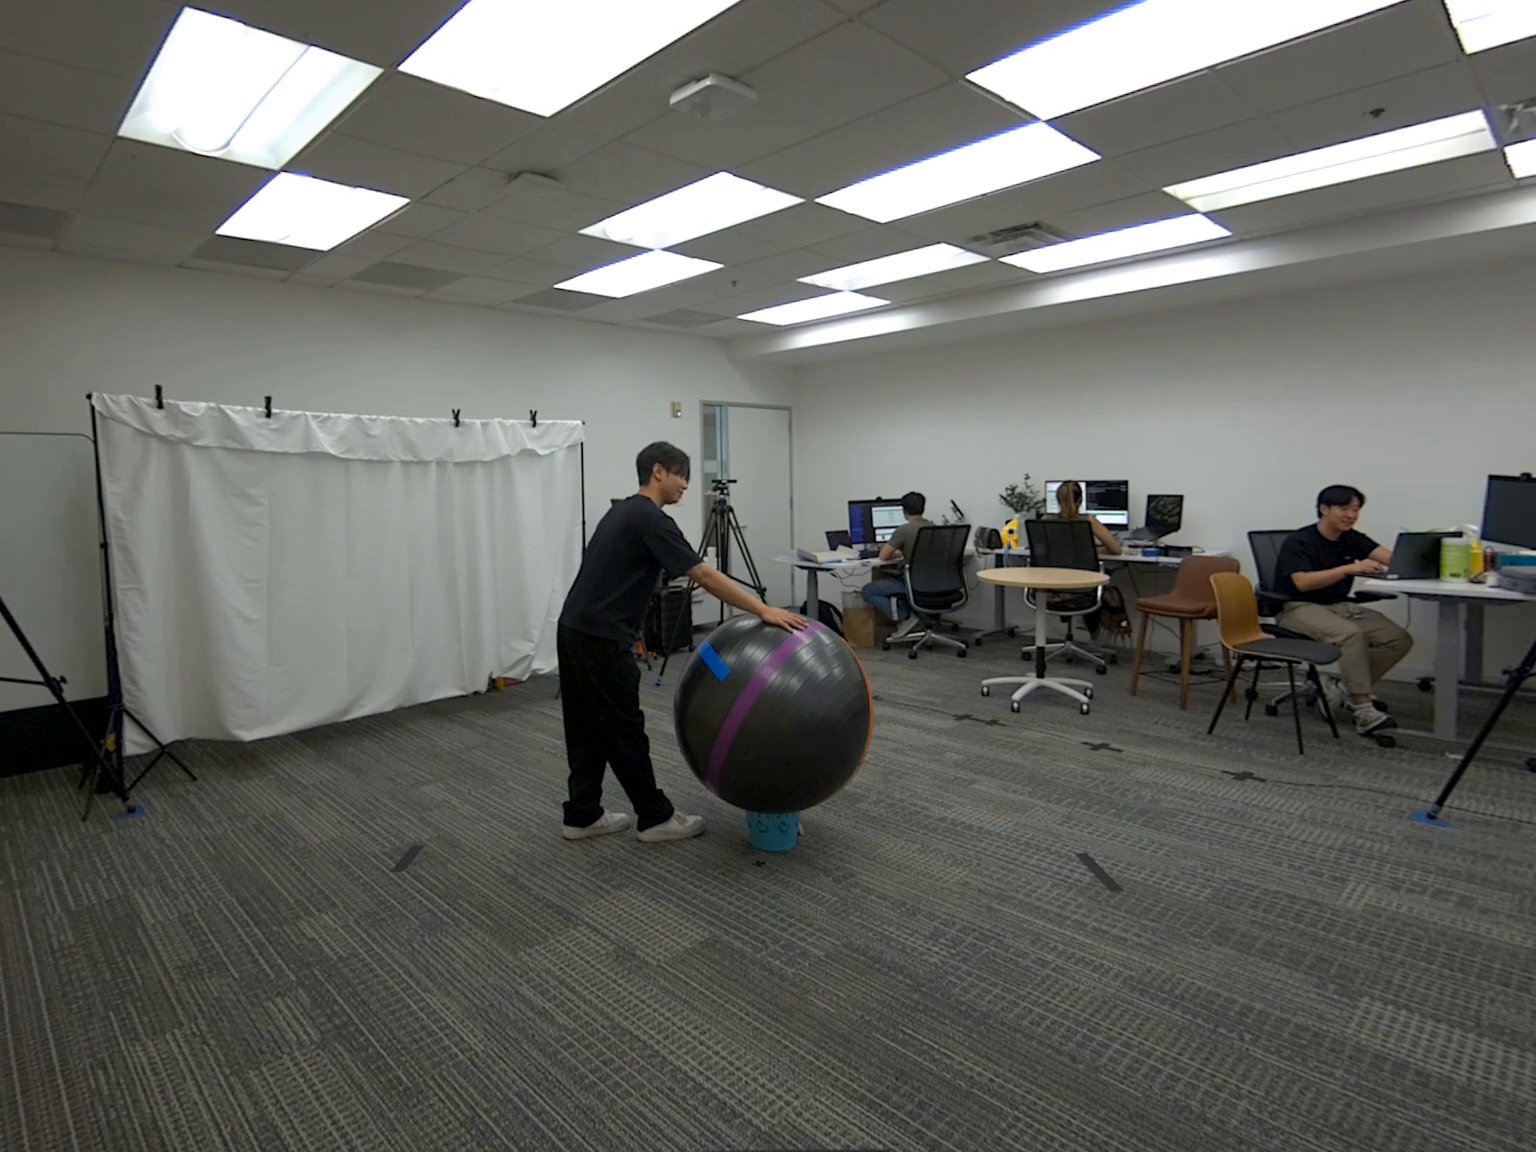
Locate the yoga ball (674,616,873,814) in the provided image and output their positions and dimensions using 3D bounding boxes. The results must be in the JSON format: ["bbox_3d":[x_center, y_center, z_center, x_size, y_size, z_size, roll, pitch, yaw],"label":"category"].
[{"bbox_3d":[0.027,0.516,3.274,0.757,0.755,0.762,-1,5,-2],"label":"yoga ball"}]
